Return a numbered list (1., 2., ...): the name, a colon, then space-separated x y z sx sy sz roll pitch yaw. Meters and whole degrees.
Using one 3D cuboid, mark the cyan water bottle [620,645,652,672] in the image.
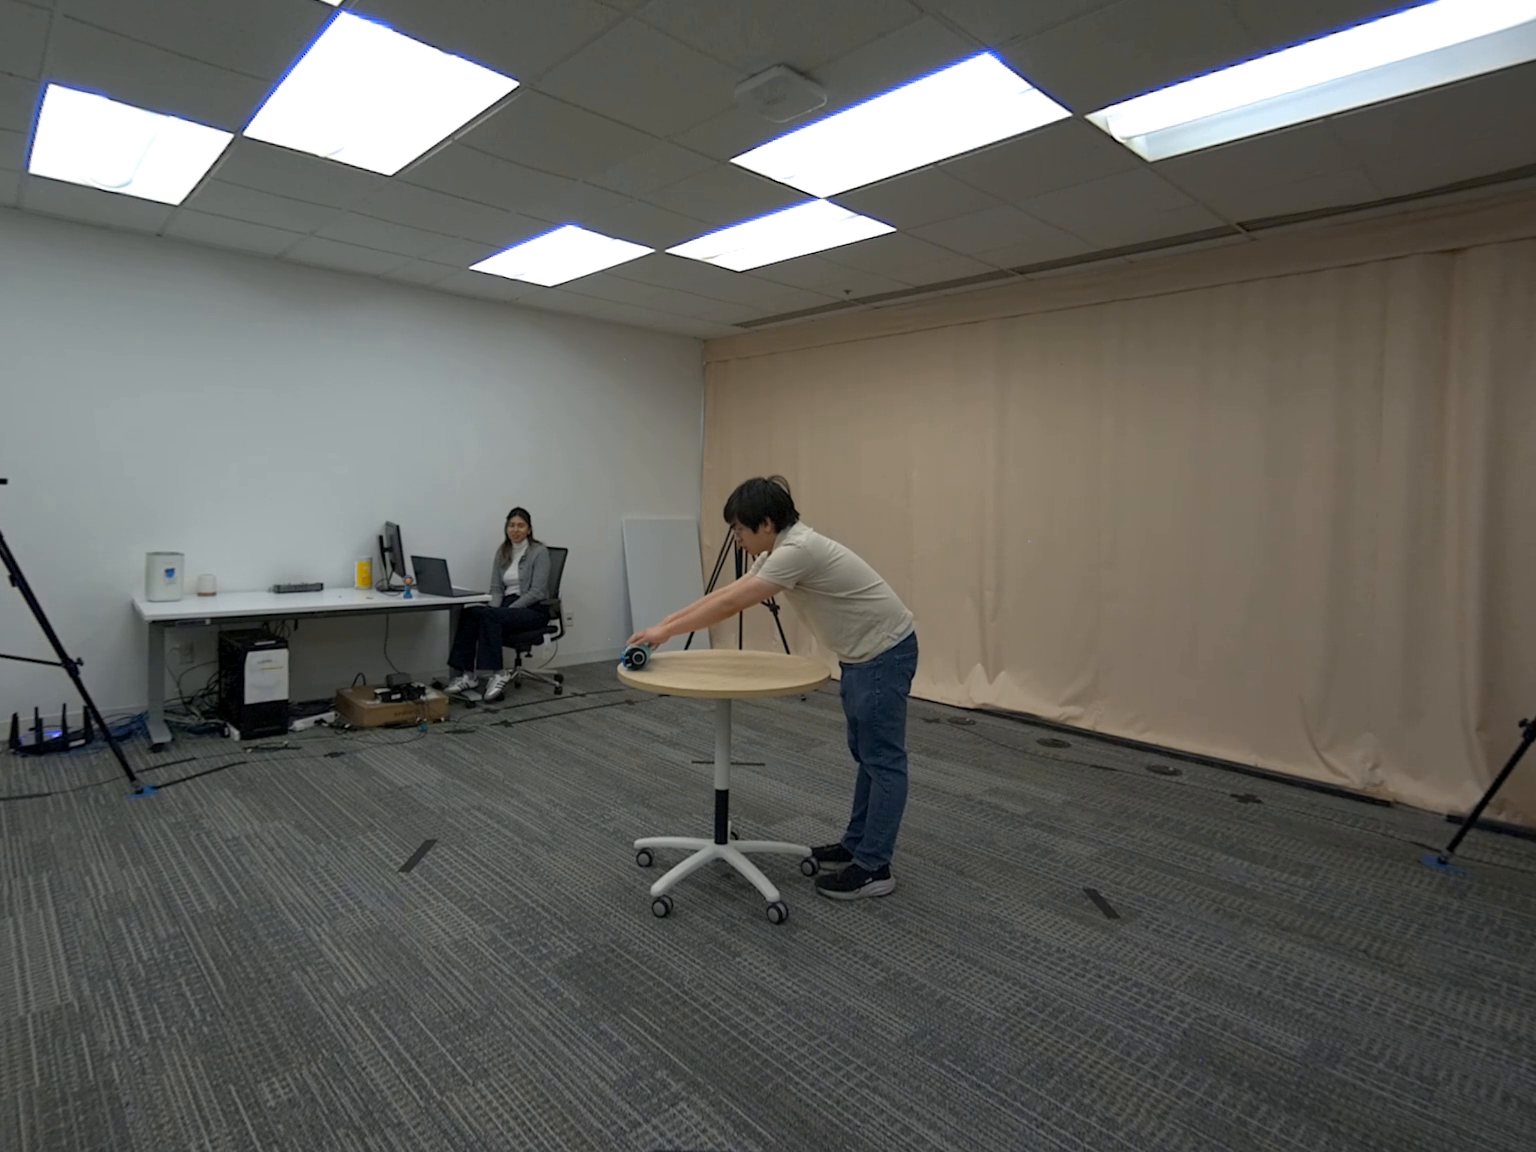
1. cyan water bottle: -0.470 0.283 3.052 0.092 0.092 0.284 1 6 0
